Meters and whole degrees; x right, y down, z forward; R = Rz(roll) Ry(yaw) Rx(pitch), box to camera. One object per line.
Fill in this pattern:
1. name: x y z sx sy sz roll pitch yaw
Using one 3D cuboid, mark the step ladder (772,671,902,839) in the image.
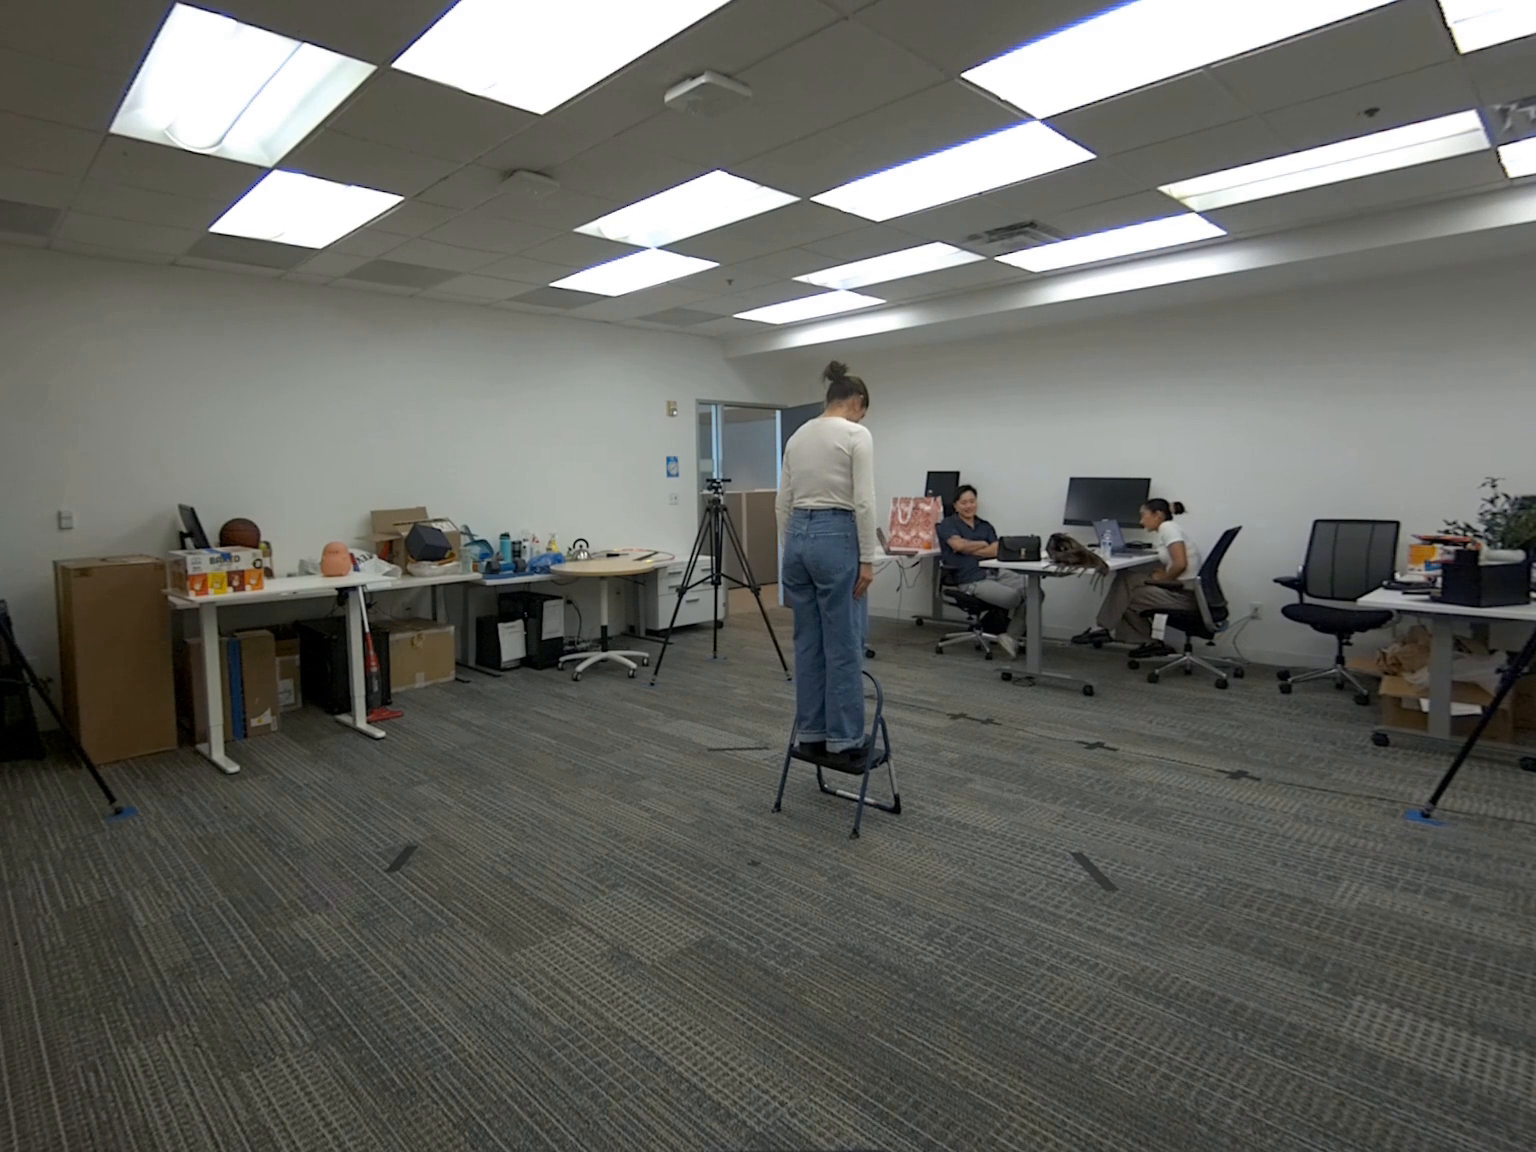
1. step ladder: 0.288 0.687 3.552 0.444 0.604 0.340 4 5 42
